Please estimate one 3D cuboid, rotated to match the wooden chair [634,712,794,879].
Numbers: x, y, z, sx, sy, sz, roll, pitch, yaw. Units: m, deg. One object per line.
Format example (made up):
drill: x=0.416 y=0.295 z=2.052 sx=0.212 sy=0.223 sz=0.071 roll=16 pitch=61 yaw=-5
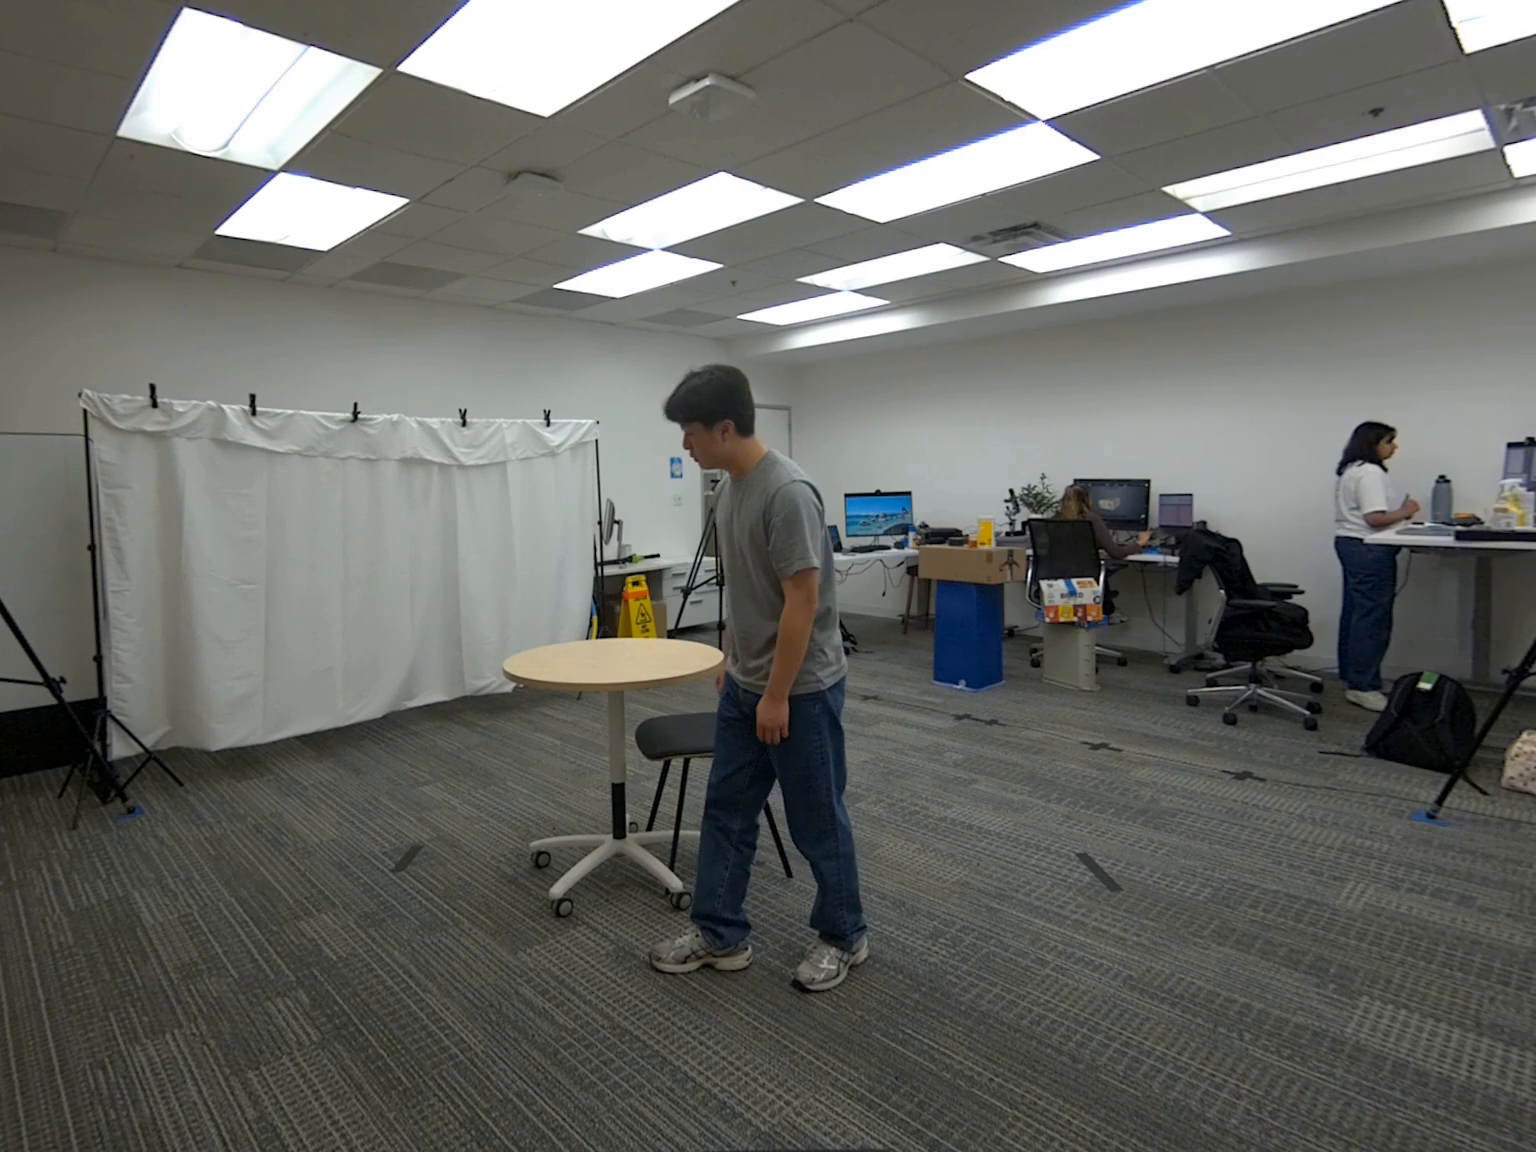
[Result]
wooden chair: x=-0.207 y=0.620 z=3.111 sx=0.515 sy=0.875 sz=0.487 roll=3 pitch=3 yaw=-17
